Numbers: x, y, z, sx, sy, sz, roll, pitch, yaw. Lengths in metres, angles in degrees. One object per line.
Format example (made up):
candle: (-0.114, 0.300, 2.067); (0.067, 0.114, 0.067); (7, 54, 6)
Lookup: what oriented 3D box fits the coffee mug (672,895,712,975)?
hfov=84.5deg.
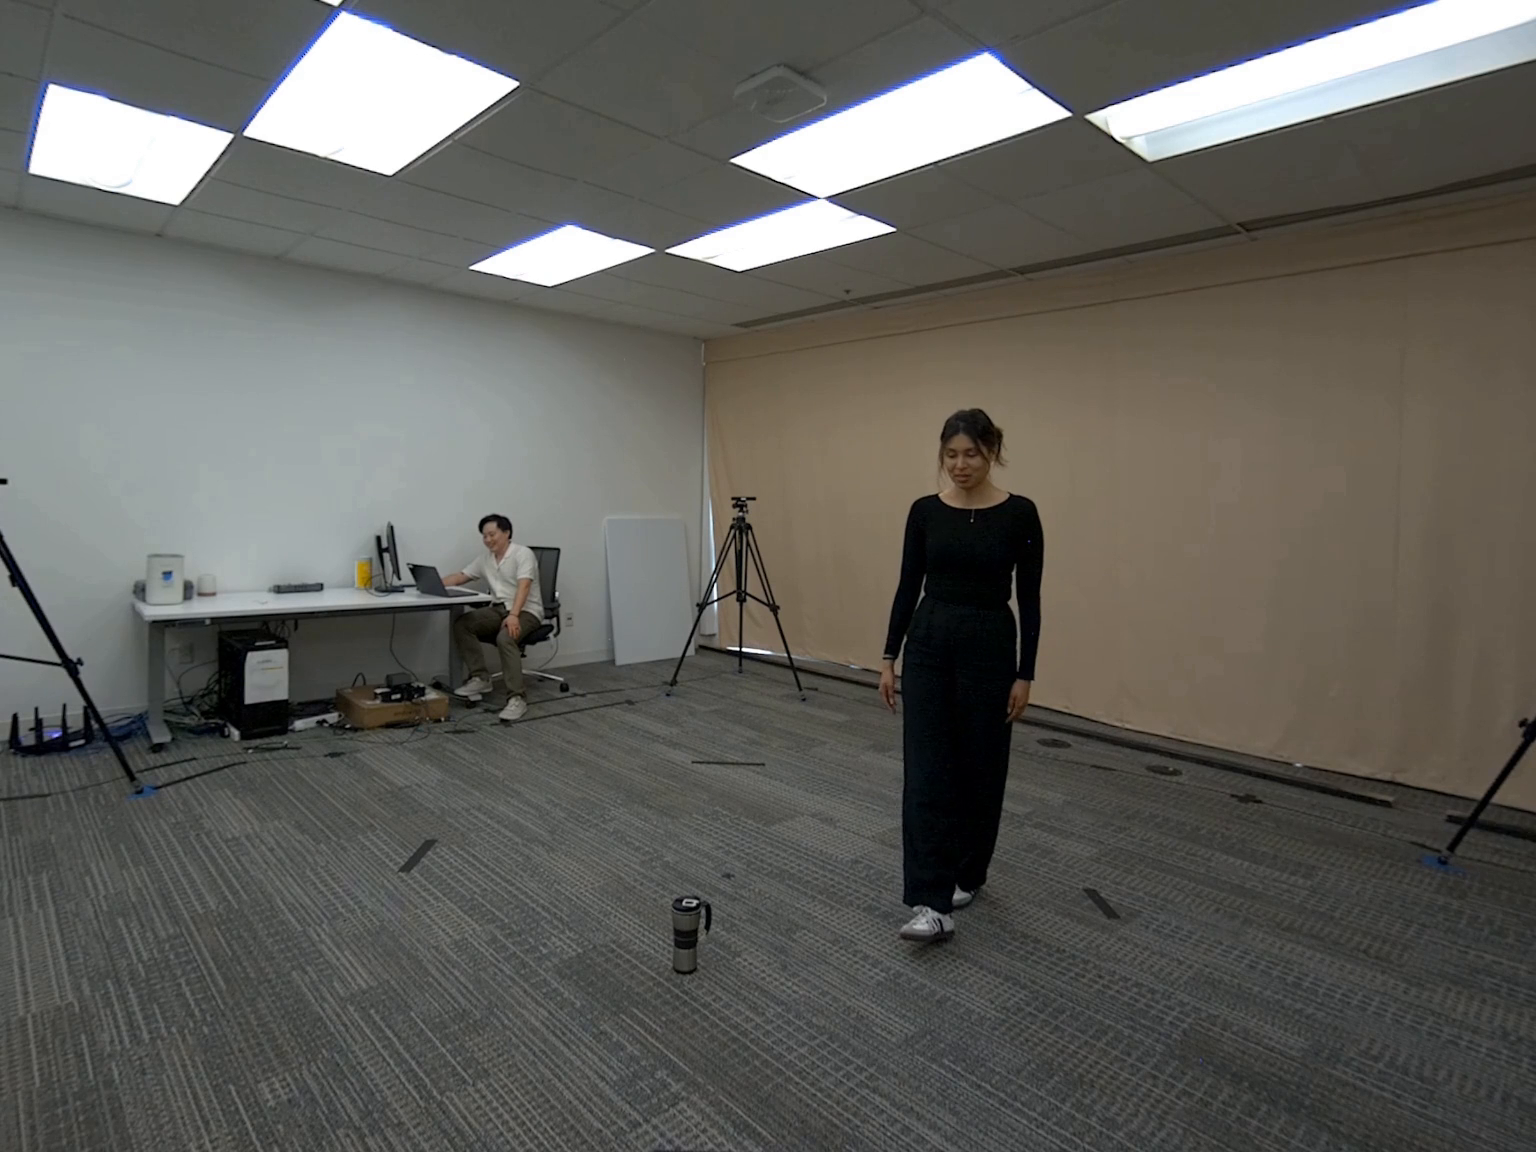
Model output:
coffee mug: (-0.226, 1.065, 2.473); (0.121, 0.203, 0.088); (-1, 2, -8)
